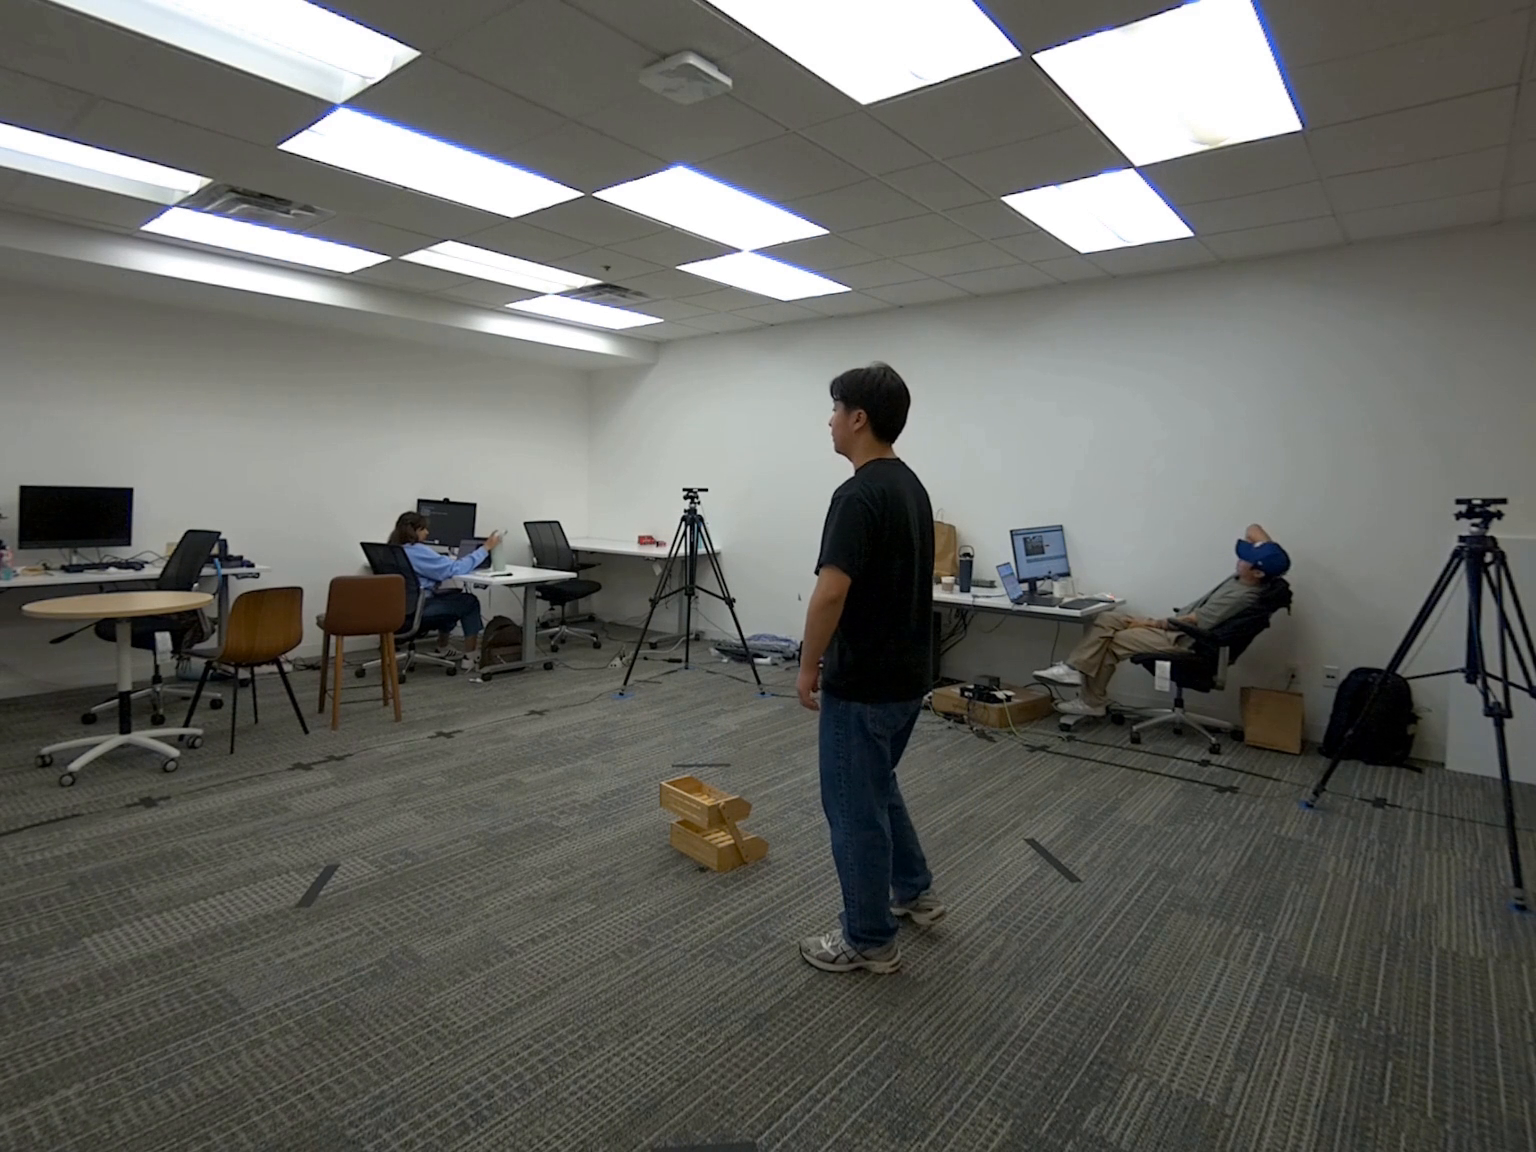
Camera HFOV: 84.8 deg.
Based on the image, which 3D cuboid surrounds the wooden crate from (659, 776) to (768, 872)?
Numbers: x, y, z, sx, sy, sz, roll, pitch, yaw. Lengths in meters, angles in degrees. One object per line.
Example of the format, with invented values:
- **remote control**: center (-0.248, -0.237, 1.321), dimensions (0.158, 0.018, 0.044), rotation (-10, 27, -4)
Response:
- **wooden crate**: center (-0.214, 0.920, 3.256), dimensions (0.293, 0.272, 0.335), rotation (-4, 6, -41)
